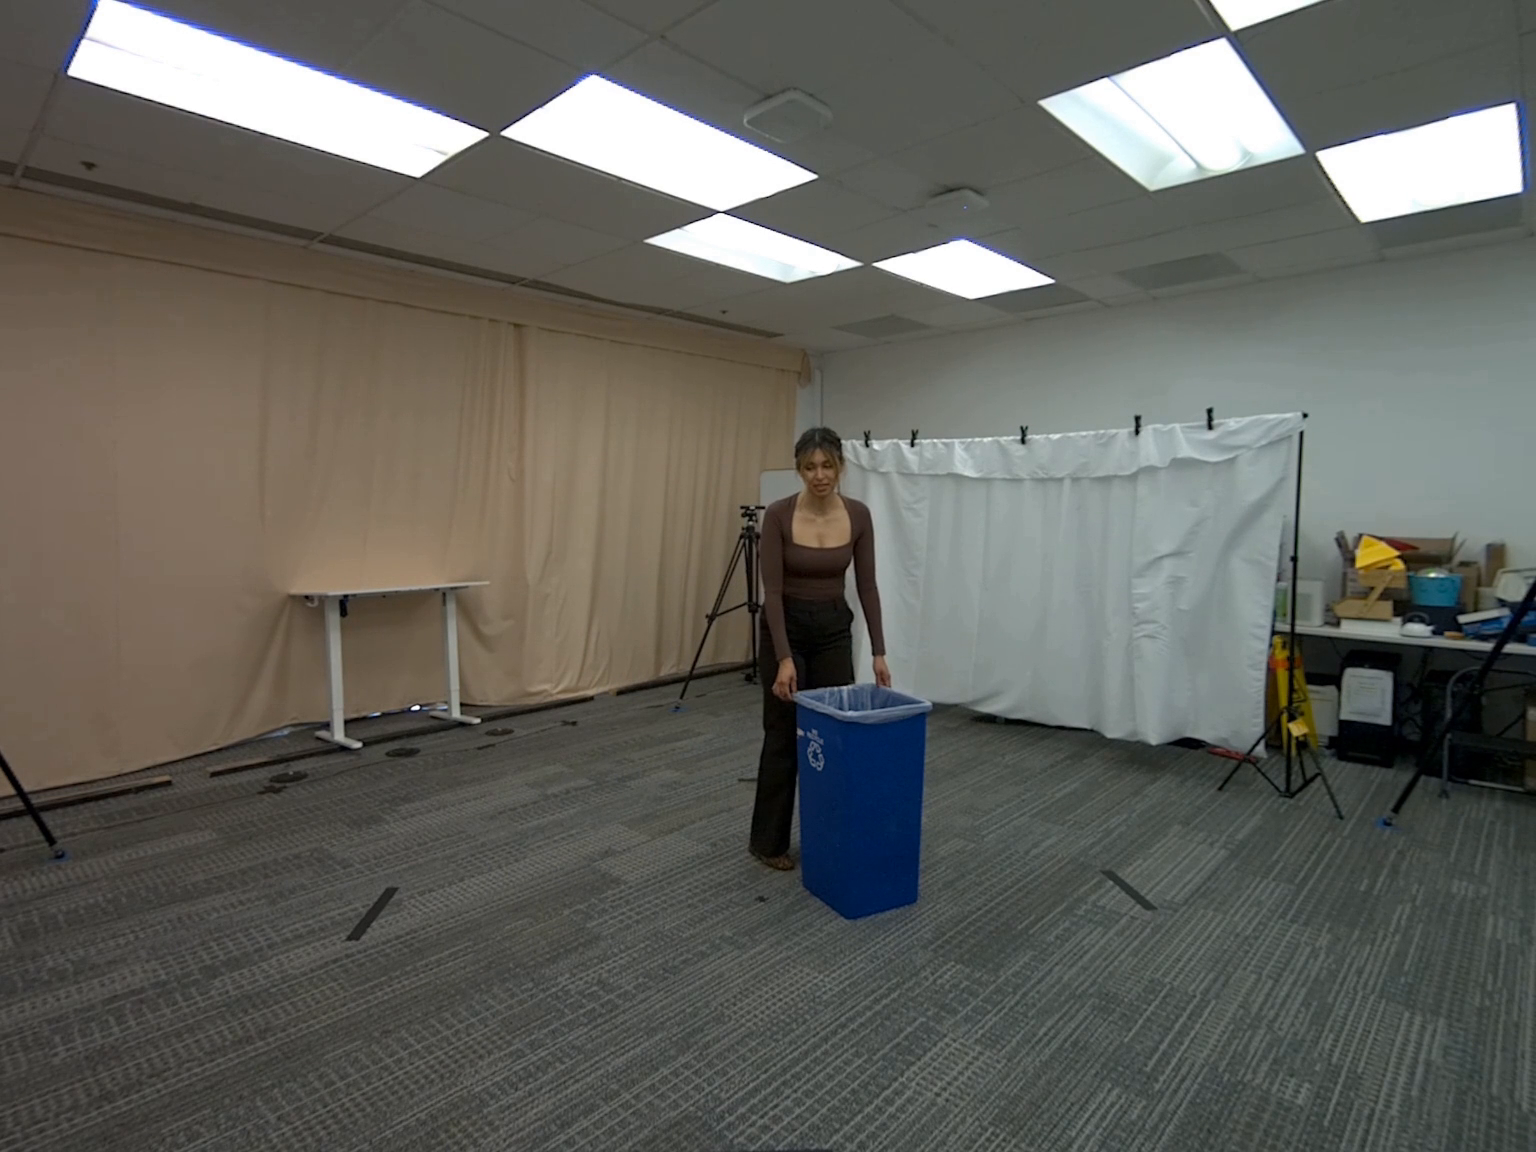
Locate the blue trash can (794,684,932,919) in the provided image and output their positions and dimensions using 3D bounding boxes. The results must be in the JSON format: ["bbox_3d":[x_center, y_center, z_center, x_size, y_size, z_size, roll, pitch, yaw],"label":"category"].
[{"bbox_3d":[0.334,0.783,2.997,0.368,0.712,0.385,-3,4,-29],"label":"blue trash can"}]
